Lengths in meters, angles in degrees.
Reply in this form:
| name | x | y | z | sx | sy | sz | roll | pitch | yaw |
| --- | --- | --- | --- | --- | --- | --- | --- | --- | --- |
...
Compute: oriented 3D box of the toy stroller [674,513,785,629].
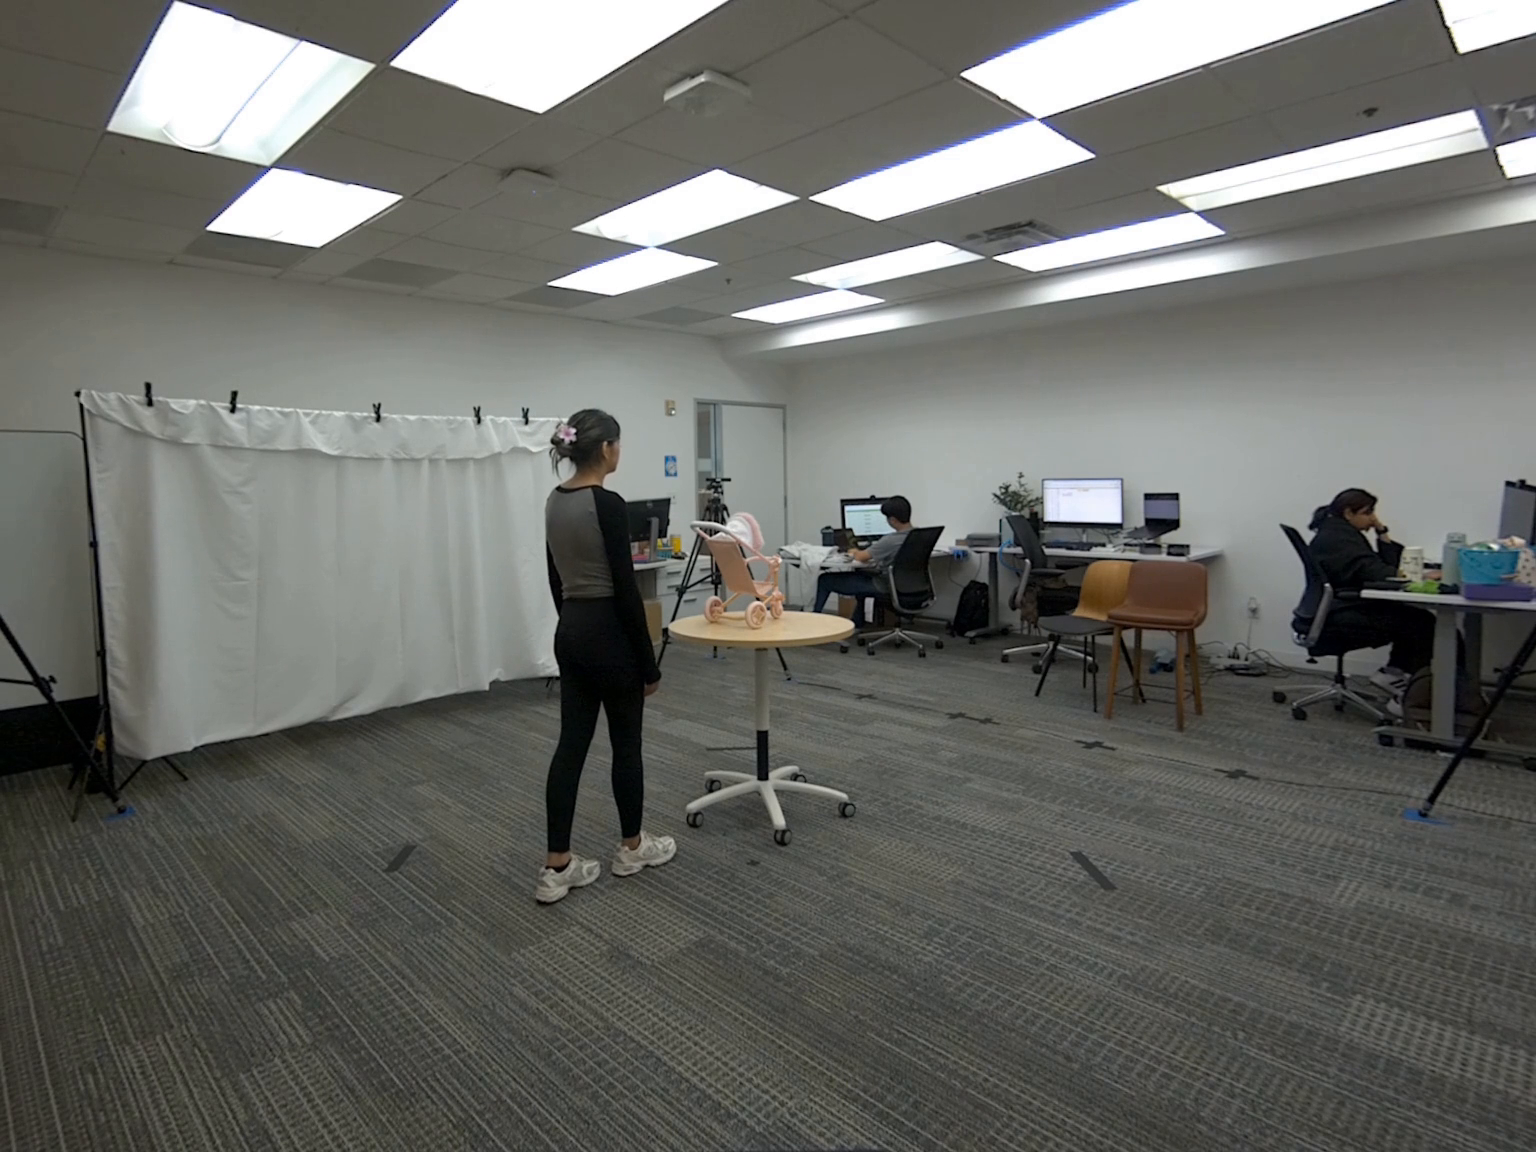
| name | x | y | z | sx | sy | sz | roll | pitch | yaw |
| --- | --- | --- | --- | --- | --- | --- | --- | --- | --- |
| toy stroller | -0.095 | -0.023 | 3.548 | 0.336 | 0.527 | 0.290 | -24 | 18 | -38 |
